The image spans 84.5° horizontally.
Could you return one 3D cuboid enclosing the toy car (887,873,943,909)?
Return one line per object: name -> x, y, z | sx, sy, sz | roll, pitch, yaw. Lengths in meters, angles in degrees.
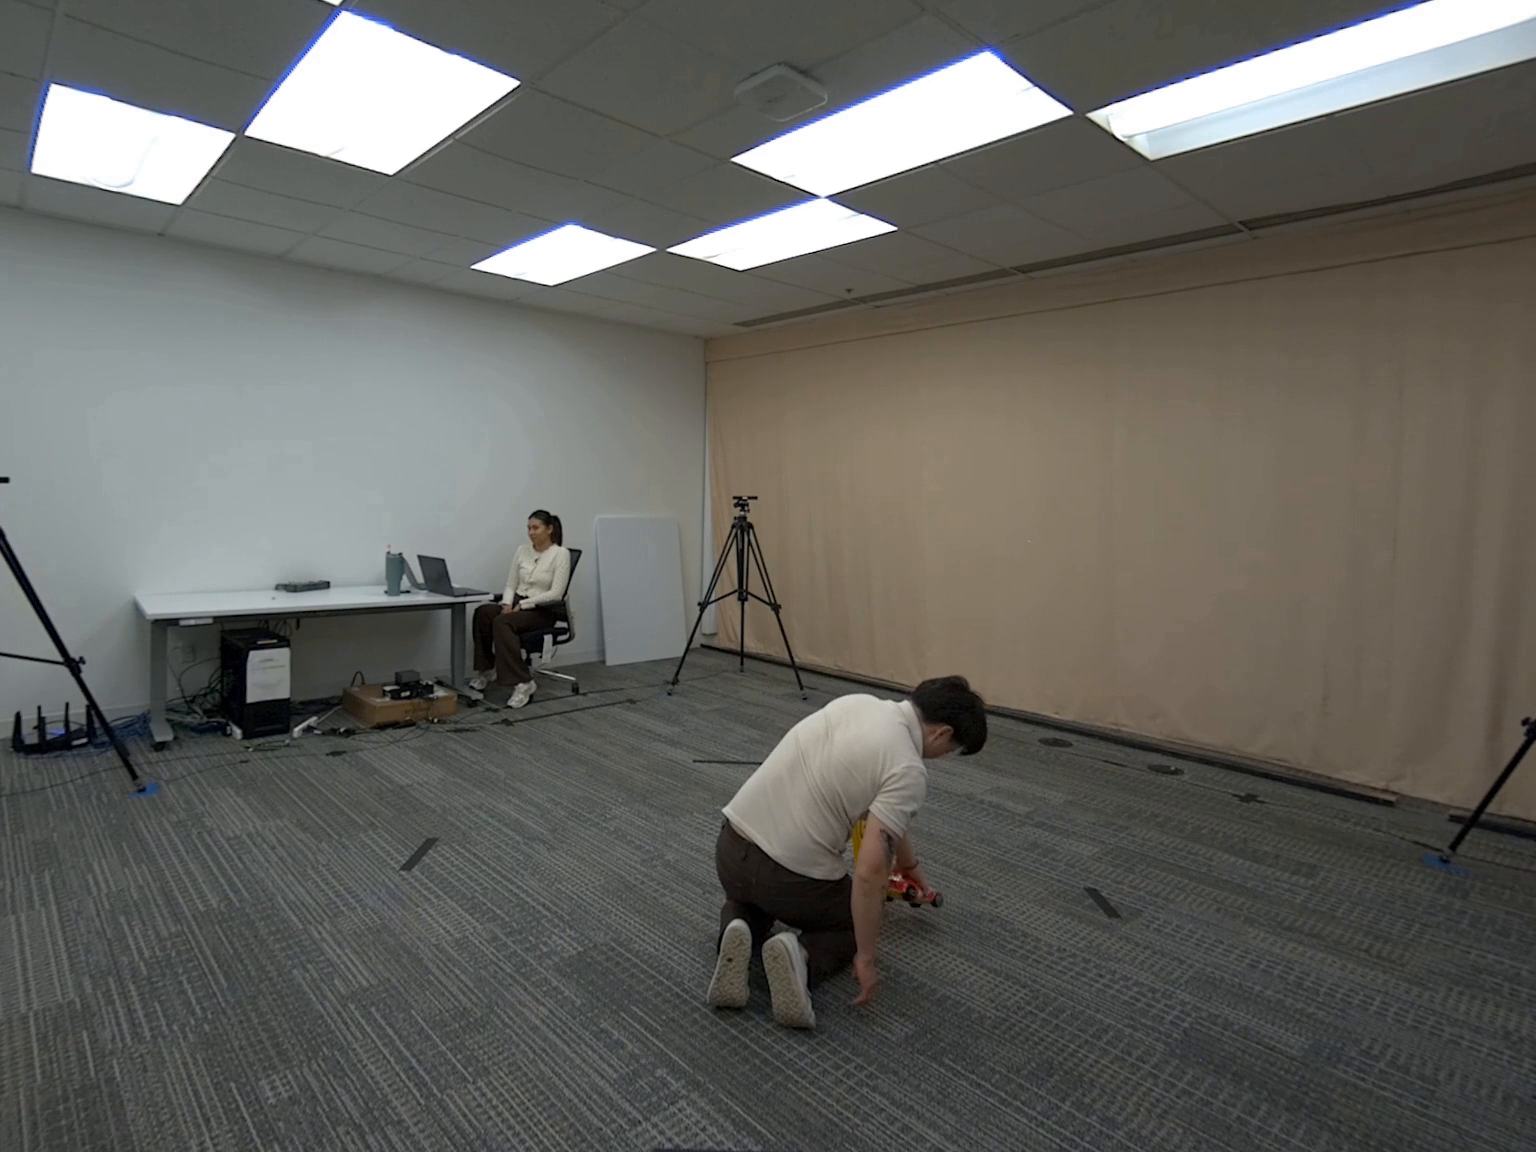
toy car -> 0.448, 1.035, 2.737 | 0.247, 0.084, 0.132 | 36, -37, -31
